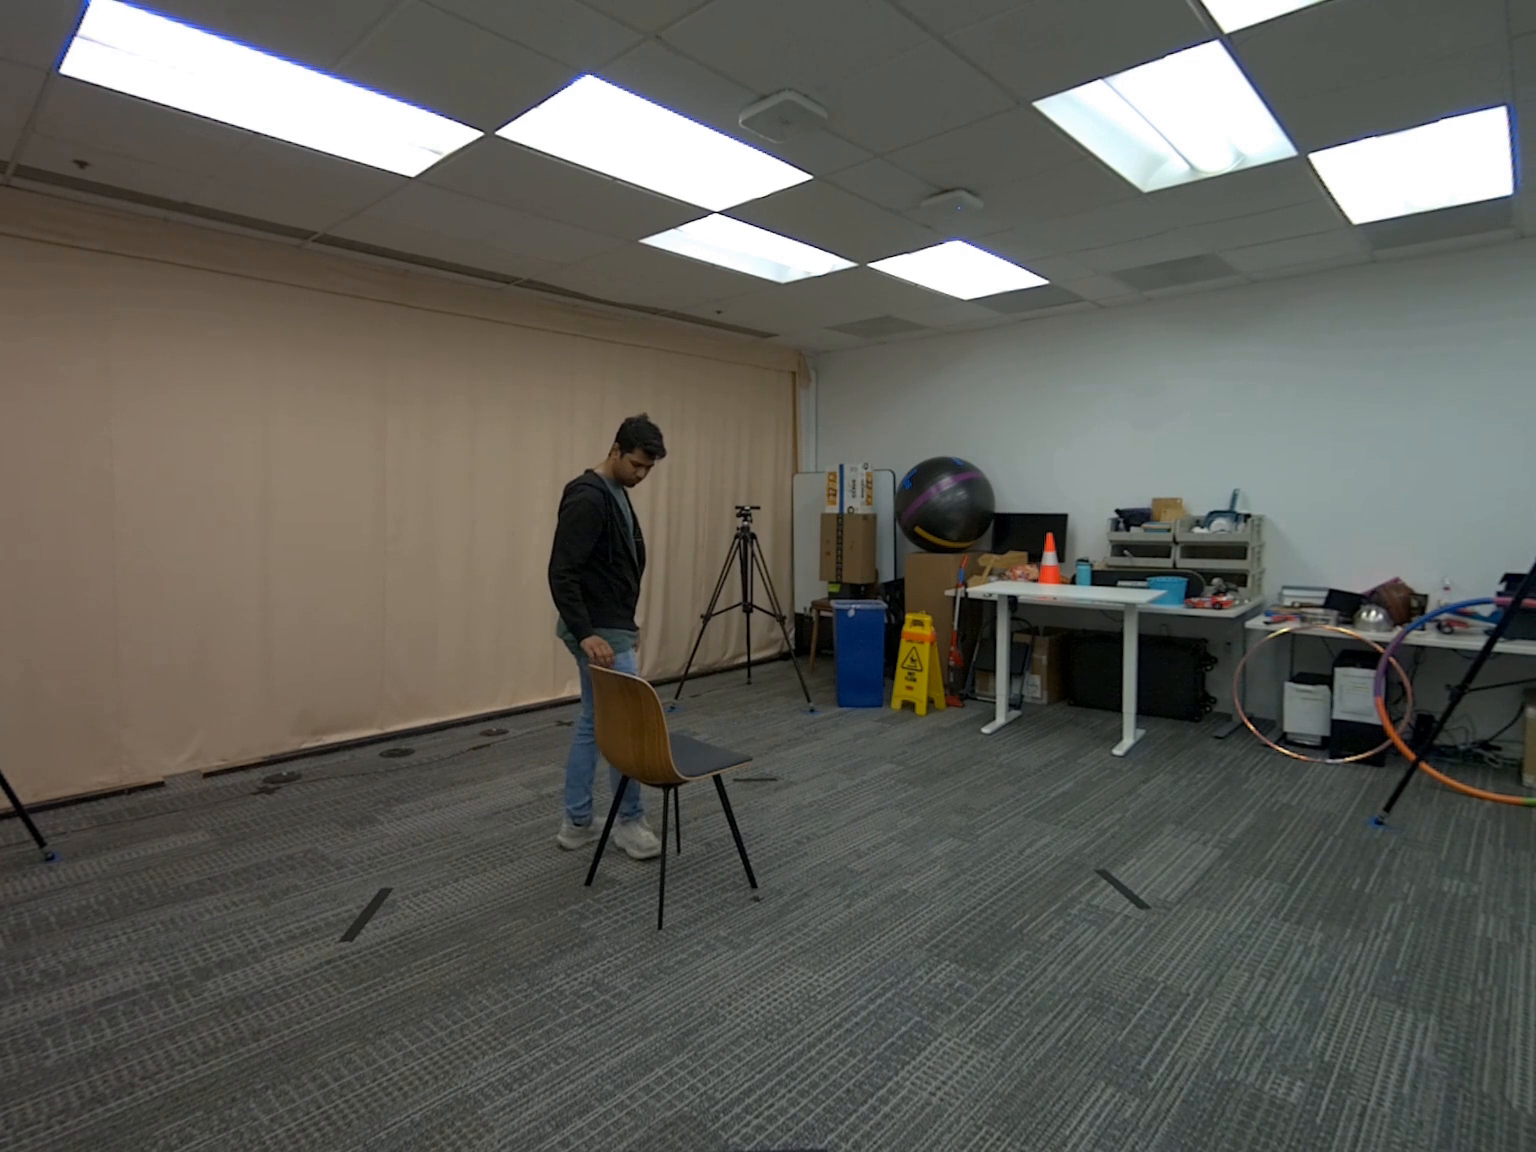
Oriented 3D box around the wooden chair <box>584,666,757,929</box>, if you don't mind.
[{"bbox_3d":[-0.346,0.715,3.052,0.508,0.874,0.494,-9,8,-43],"label":"wooden chair"}]
